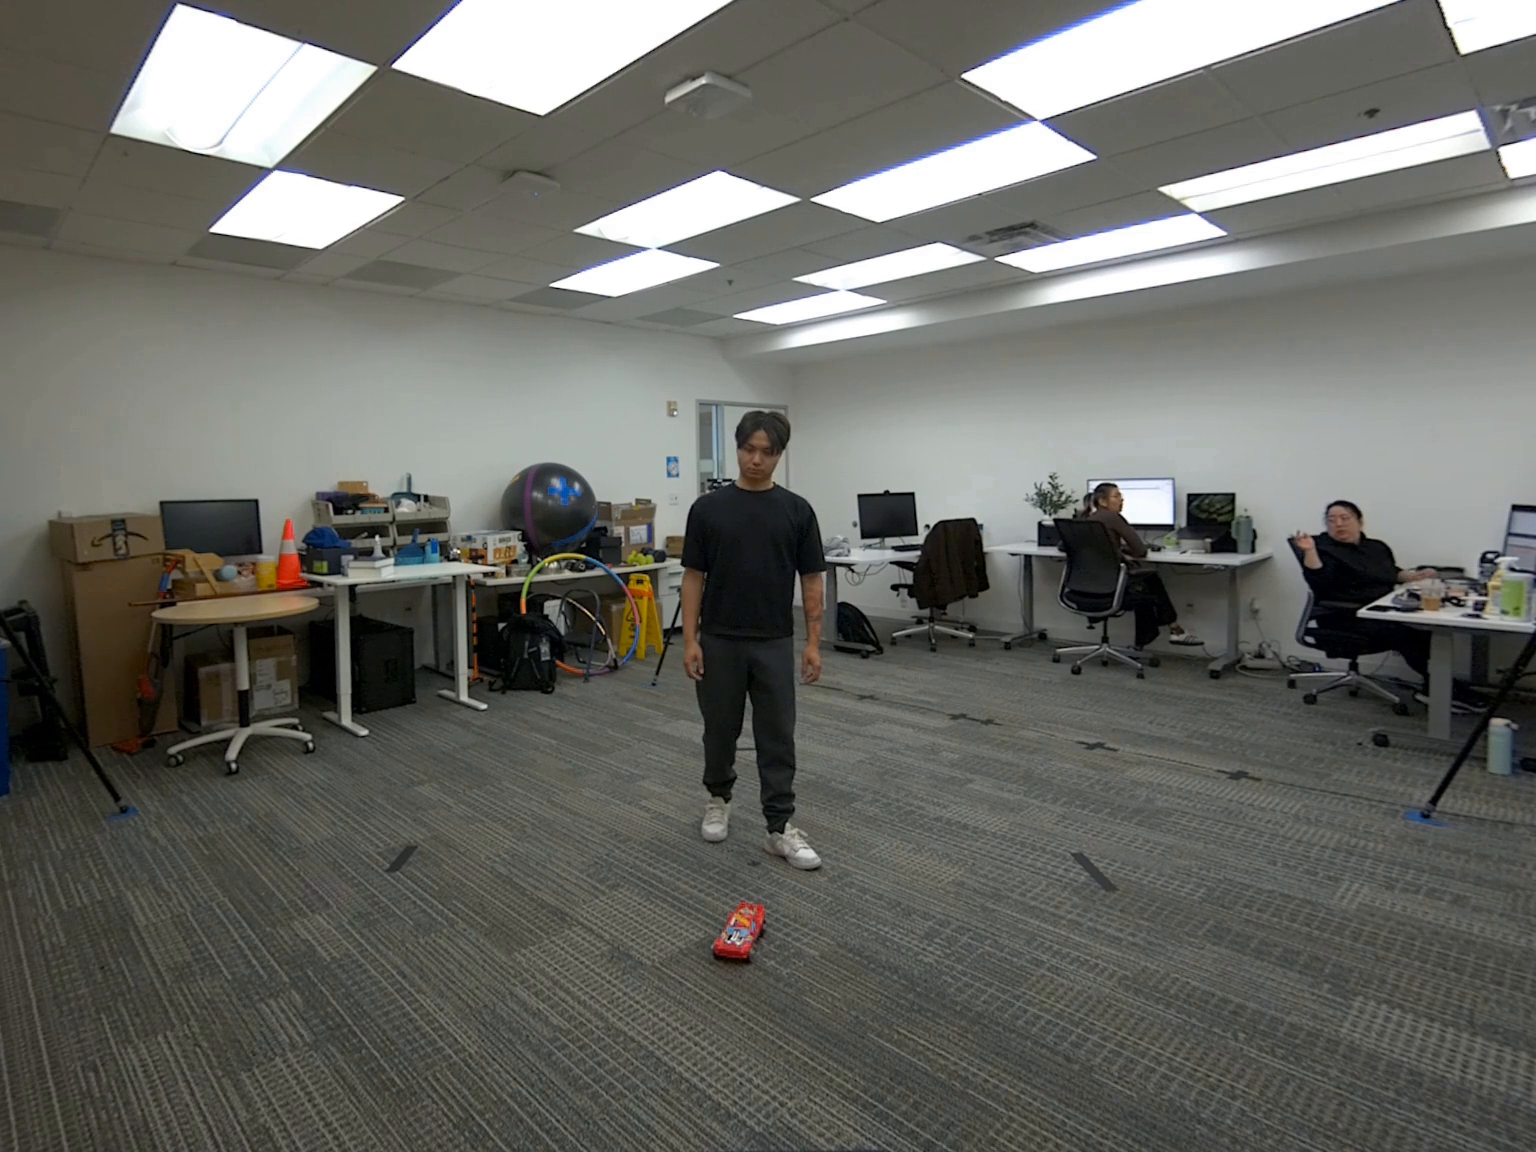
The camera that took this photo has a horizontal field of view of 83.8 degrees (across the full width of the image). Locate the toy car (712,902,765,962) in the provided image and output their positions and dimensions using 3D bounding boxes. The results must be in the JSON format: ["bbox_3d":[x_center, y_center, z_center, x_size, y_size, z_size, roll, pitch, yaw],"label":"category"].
[{"bbox_3d":[-0.072,1.081,2.573,0.132,0.082,0.254,2,17,15],"label":"toy car"}]
